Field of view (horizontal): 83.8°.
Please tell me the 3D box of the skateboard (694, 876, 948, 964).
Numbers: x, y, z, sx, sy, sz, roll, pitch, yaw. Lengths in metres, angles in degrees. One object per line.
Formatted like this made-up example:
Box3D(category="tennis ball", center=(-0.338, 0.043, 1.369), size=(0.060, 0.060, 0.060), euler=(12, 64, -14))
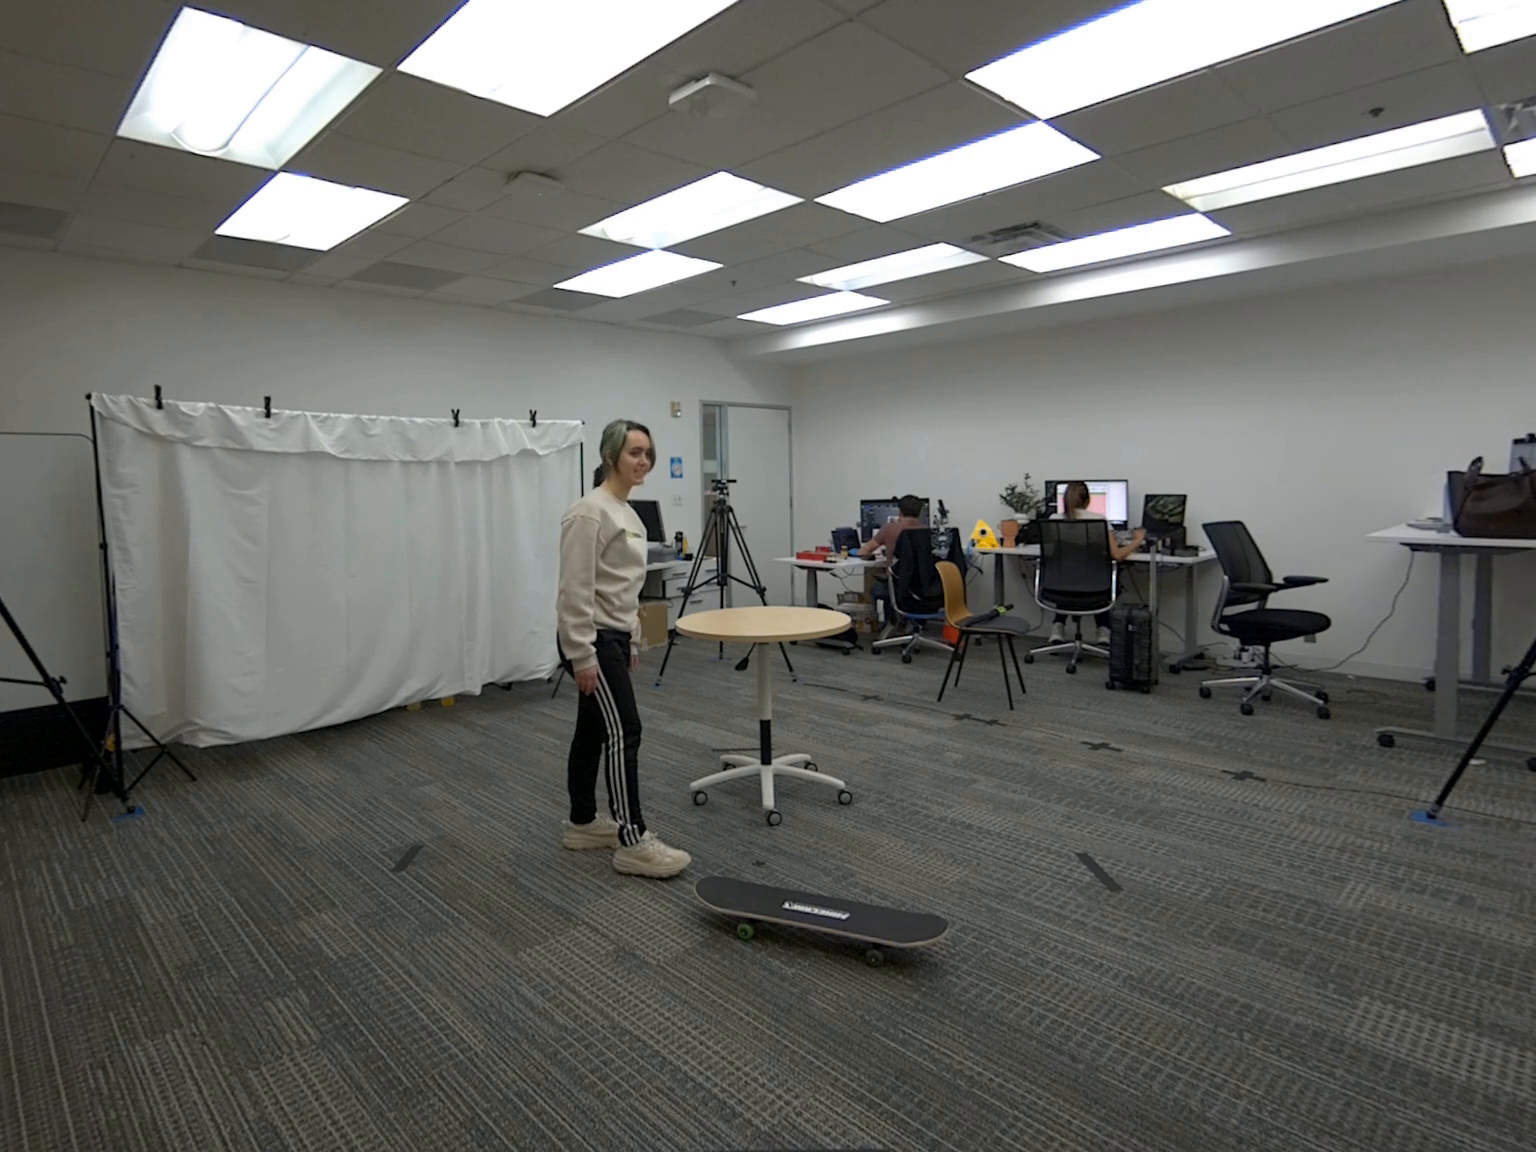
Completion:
Box3D(category="skateboard", center=(0.153, 1.046, 2.587), size=(0.802, 0.110, 0.190), euler=(1, 6, 23))
